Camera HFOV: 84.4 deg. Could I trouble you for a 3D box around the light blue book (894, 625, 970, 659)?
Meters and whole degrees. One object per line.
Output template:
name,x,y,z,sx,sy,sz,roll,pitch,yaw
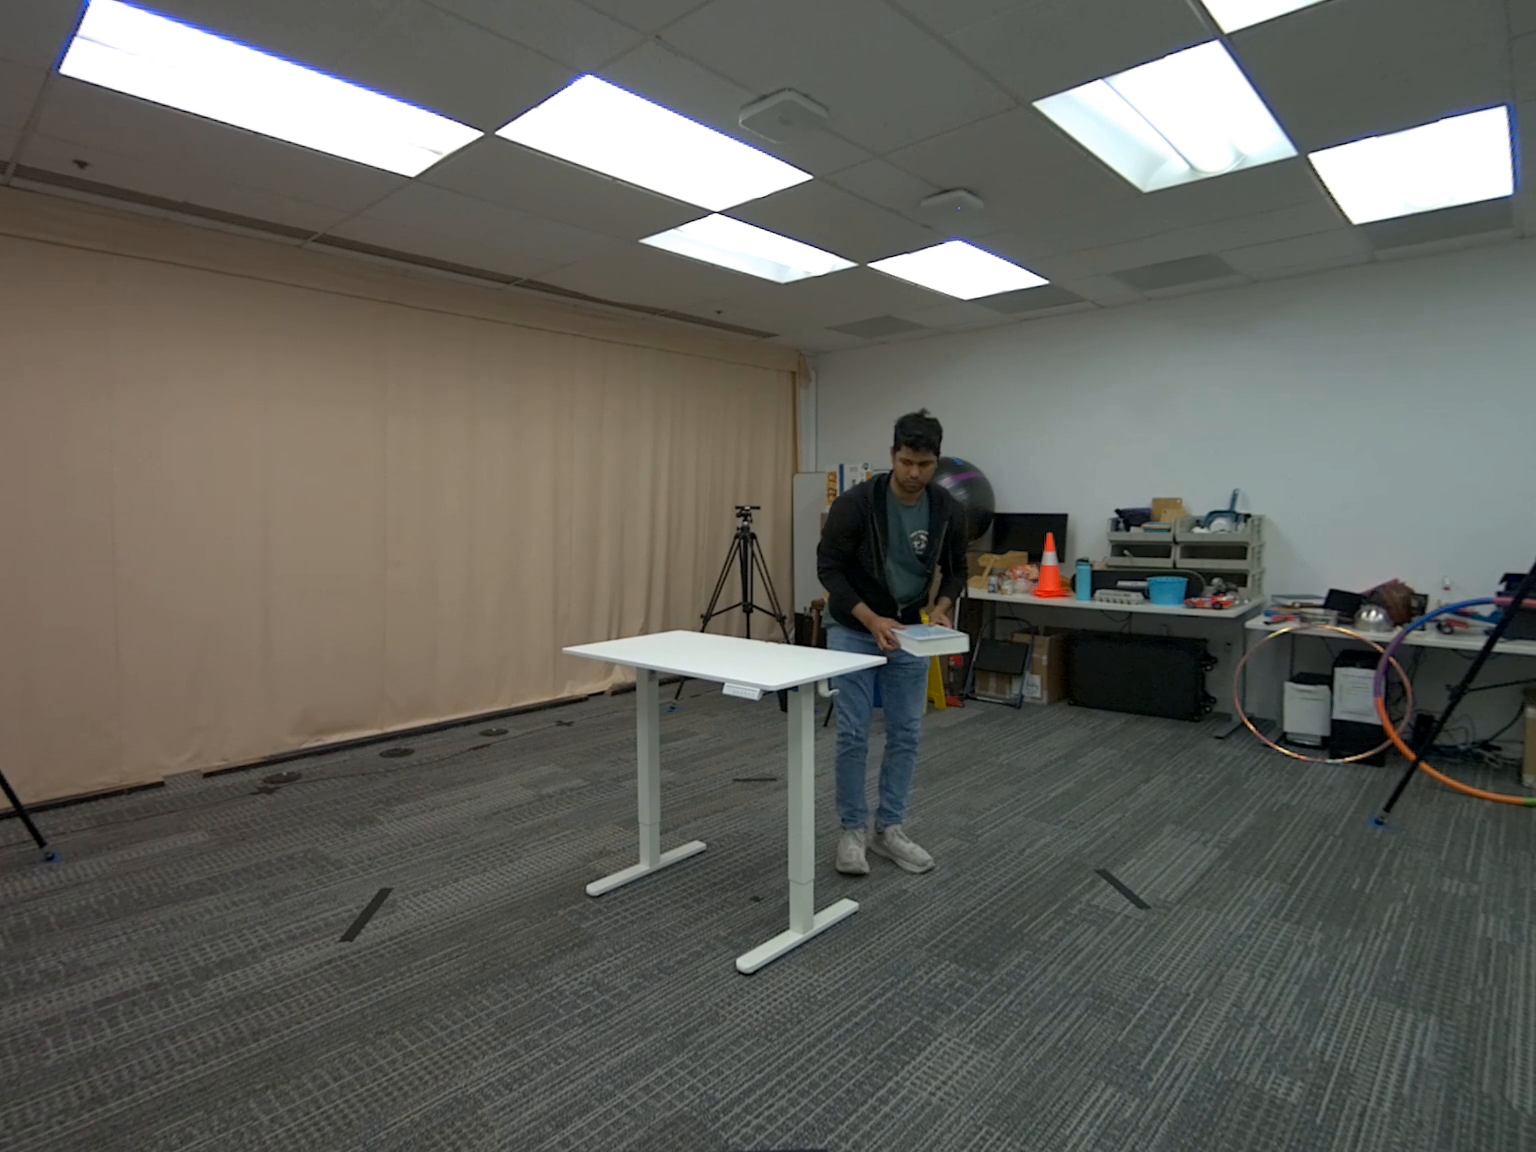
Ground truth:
light blue book,0.553,0.235,2.931,0.189,0.059,0.264,-5,6,-10
